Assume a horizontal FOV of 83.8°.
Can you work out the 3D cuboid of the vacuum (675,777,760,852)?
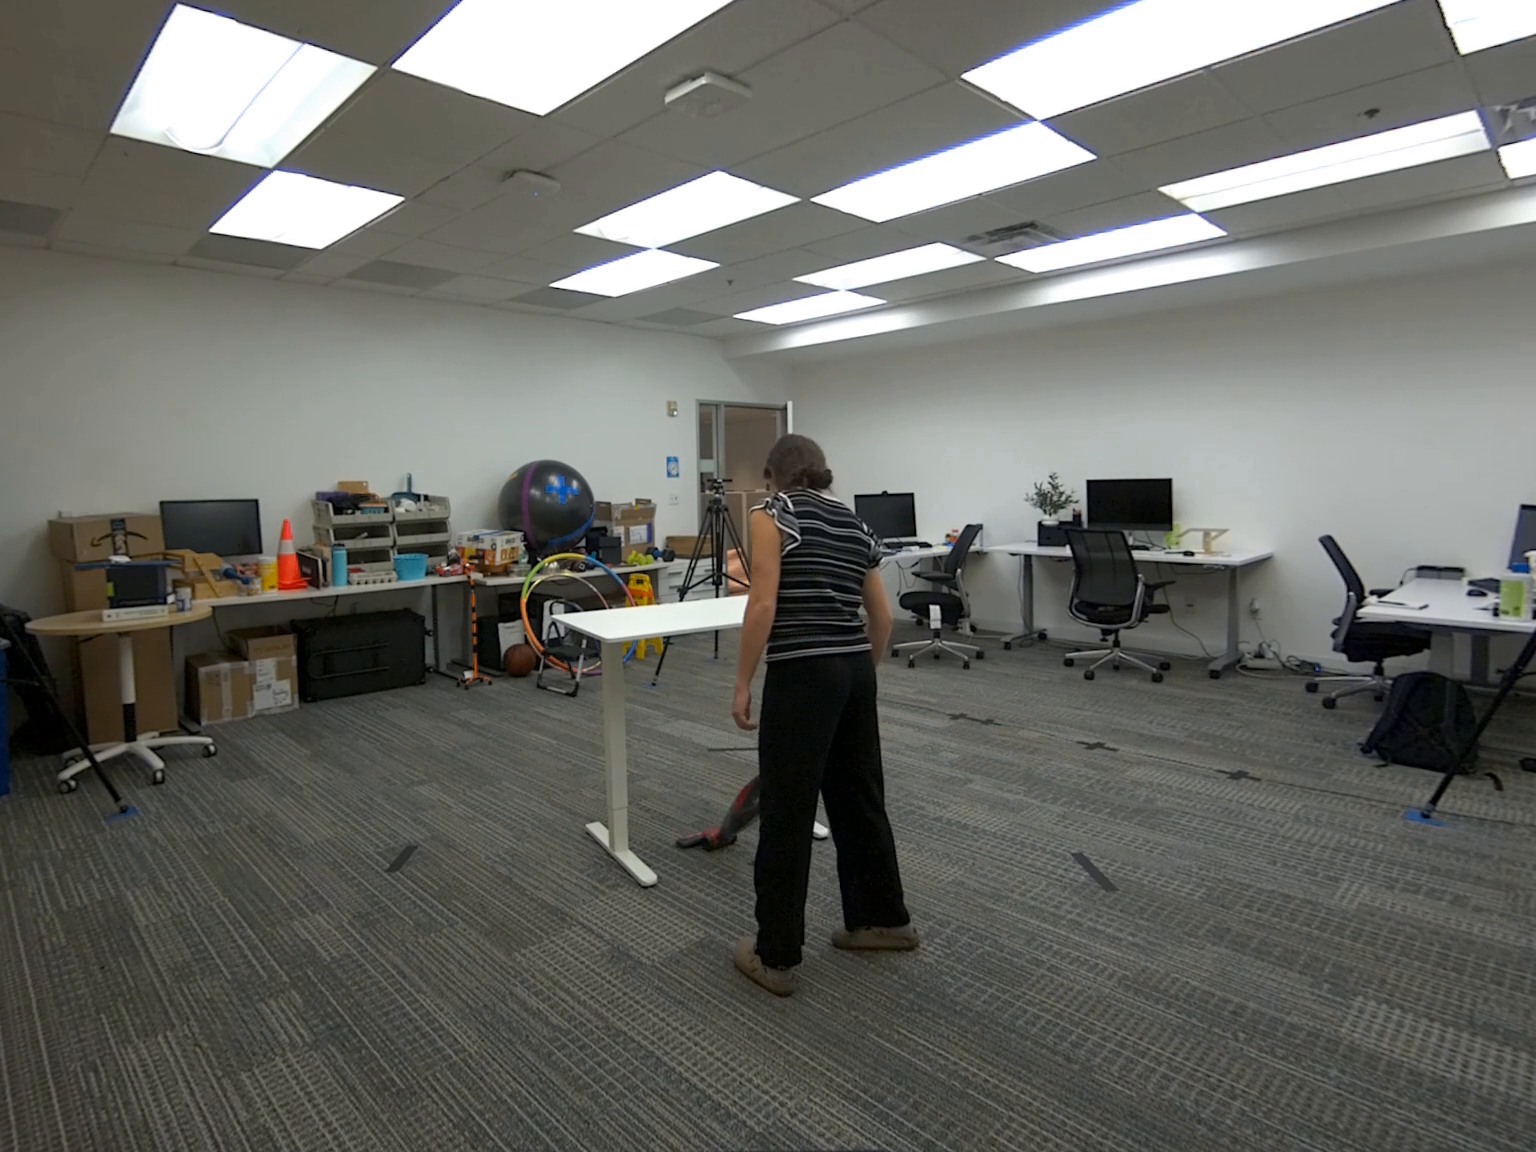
[{"bbox_3d":[0.017,0.731,2.959,0.247,0.148,1.045,-13,-25,-40],"label":"vacuum"}]
